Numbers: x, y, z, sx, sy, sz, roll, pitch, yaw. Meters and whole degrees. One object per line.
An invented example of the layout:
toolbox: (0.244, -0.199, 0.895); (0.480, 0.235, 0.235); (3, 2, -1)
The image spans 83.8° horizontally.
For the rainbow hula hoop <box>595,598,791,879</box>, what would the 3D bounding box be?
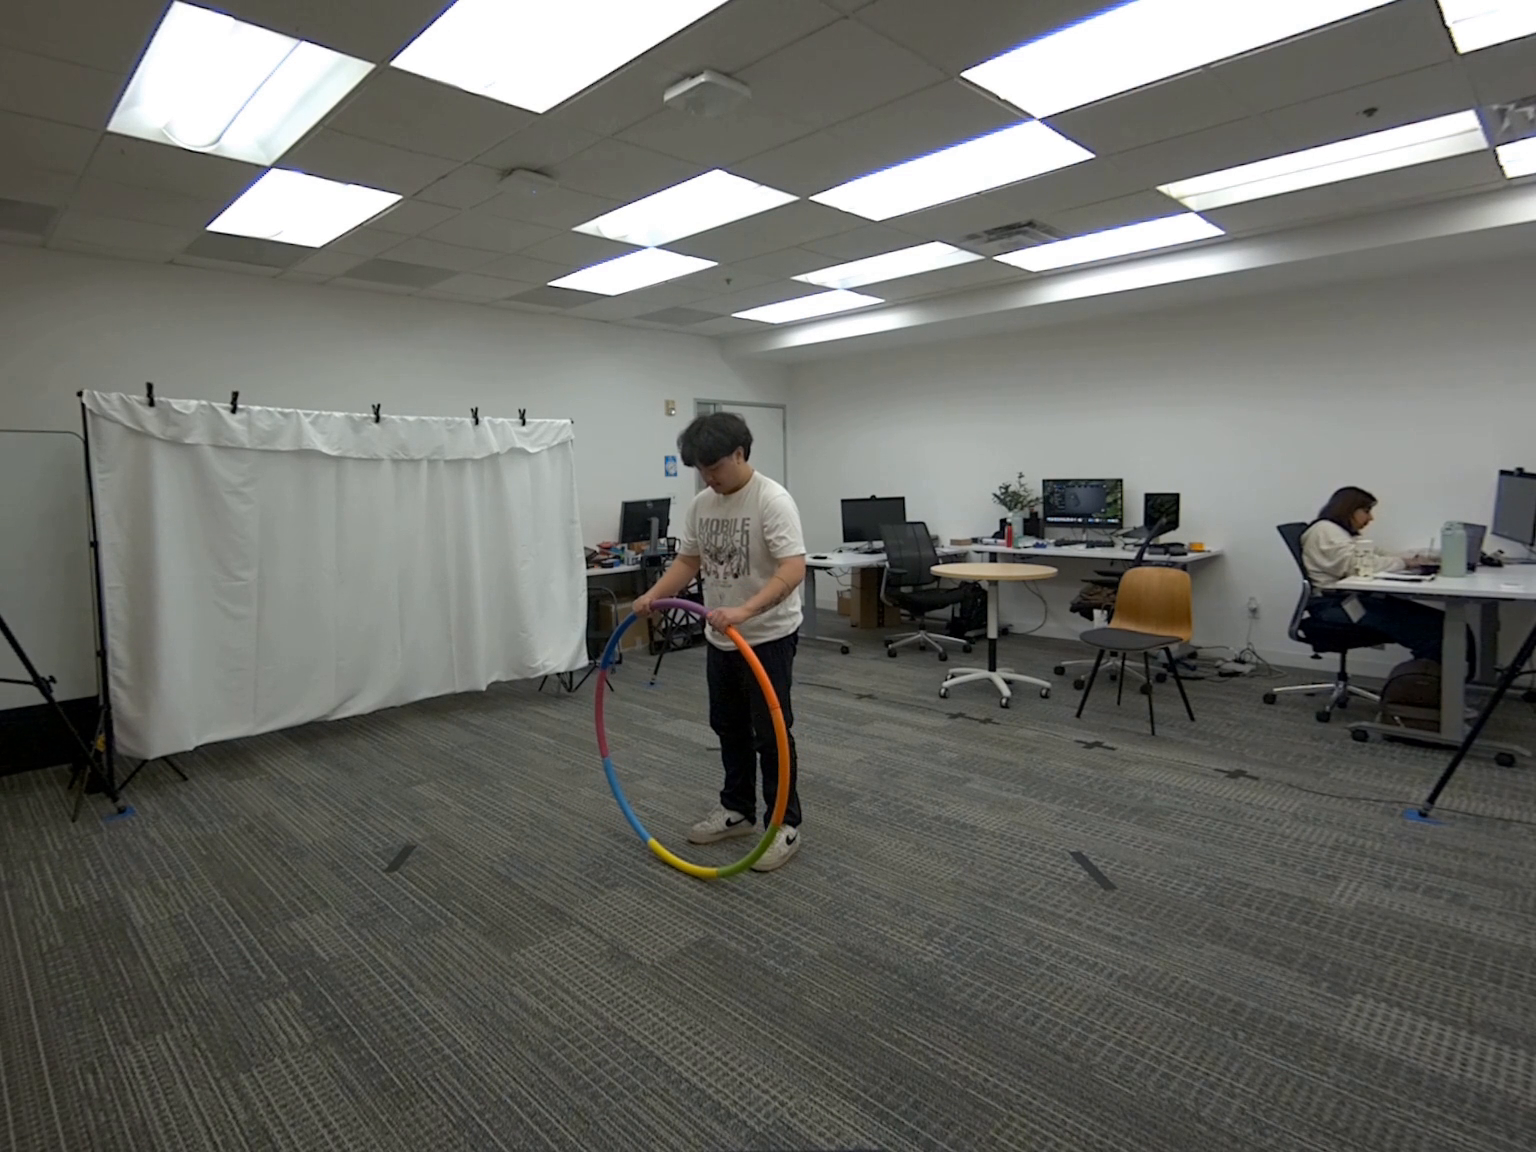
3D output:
rainbow hula hoop: (-0.300, 0.567, 3.016); (1.016, 0.982, 0.050); (4, 5, 44)
